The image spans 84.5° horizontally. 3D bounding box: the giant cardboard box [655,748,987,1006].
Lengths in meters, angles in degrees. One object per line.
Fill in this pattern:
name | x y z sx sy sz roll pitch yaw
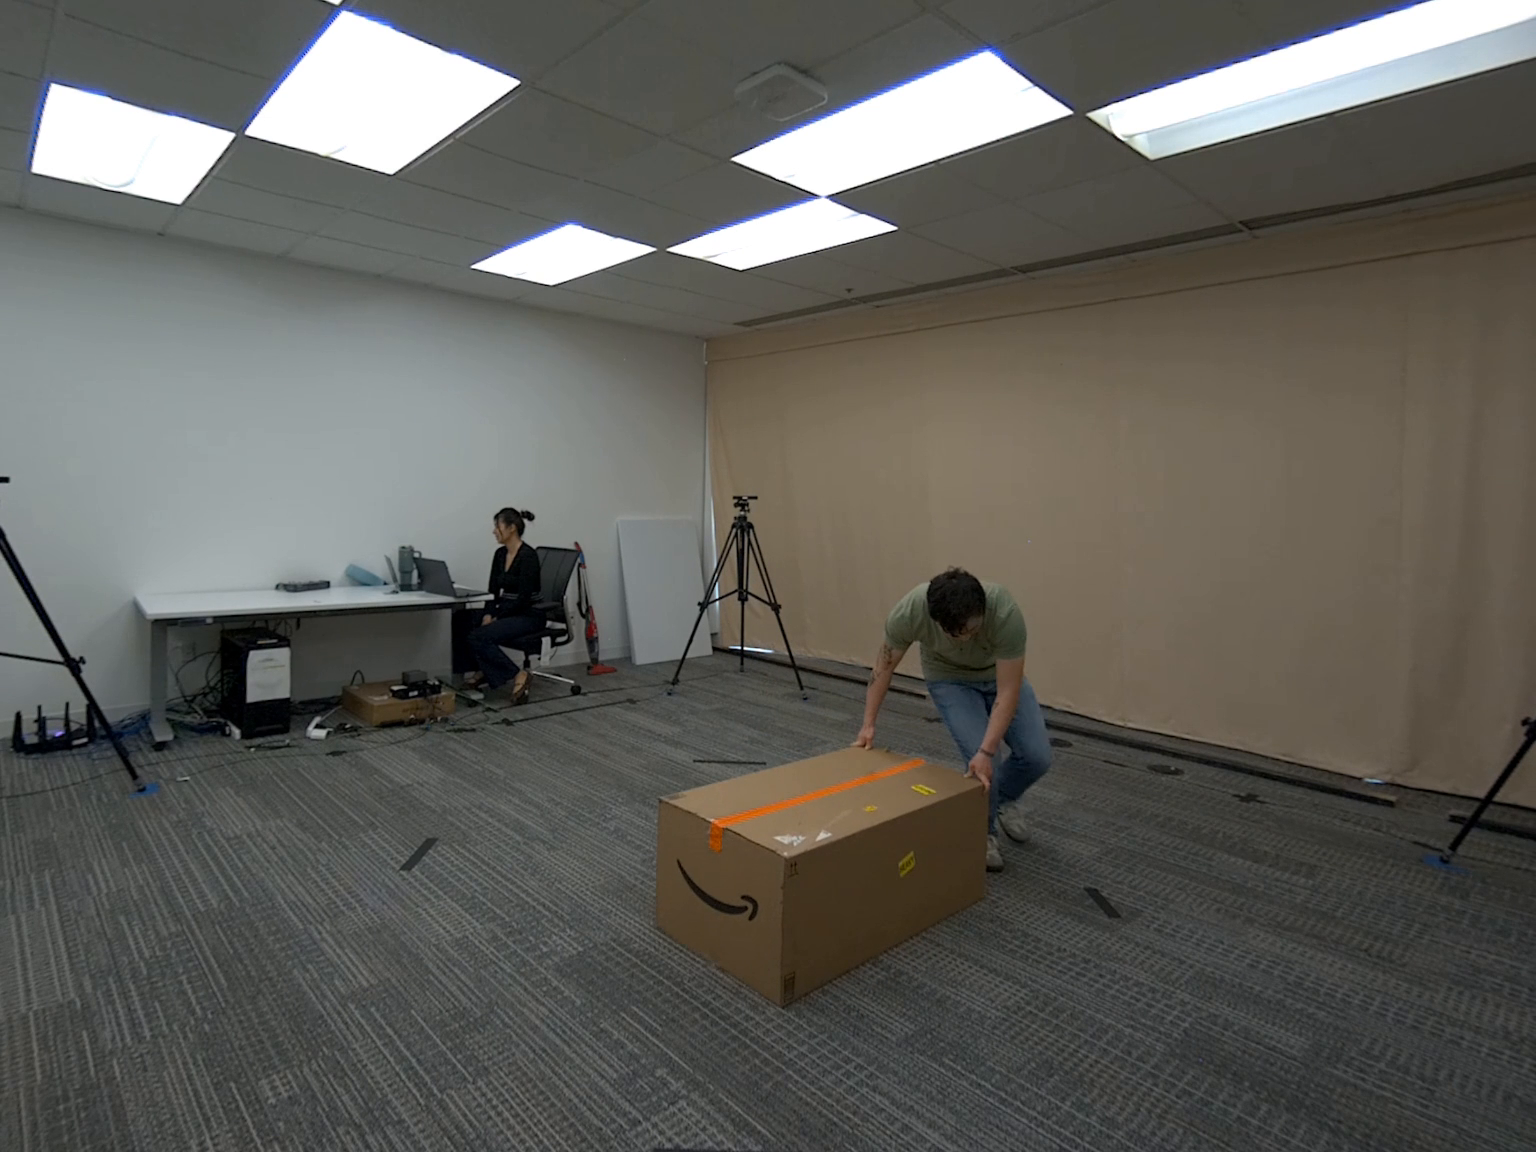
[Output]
giant cardboard box | 0.197 0.924 2.828 1.002 0.425 0.593 -3 7 -43
